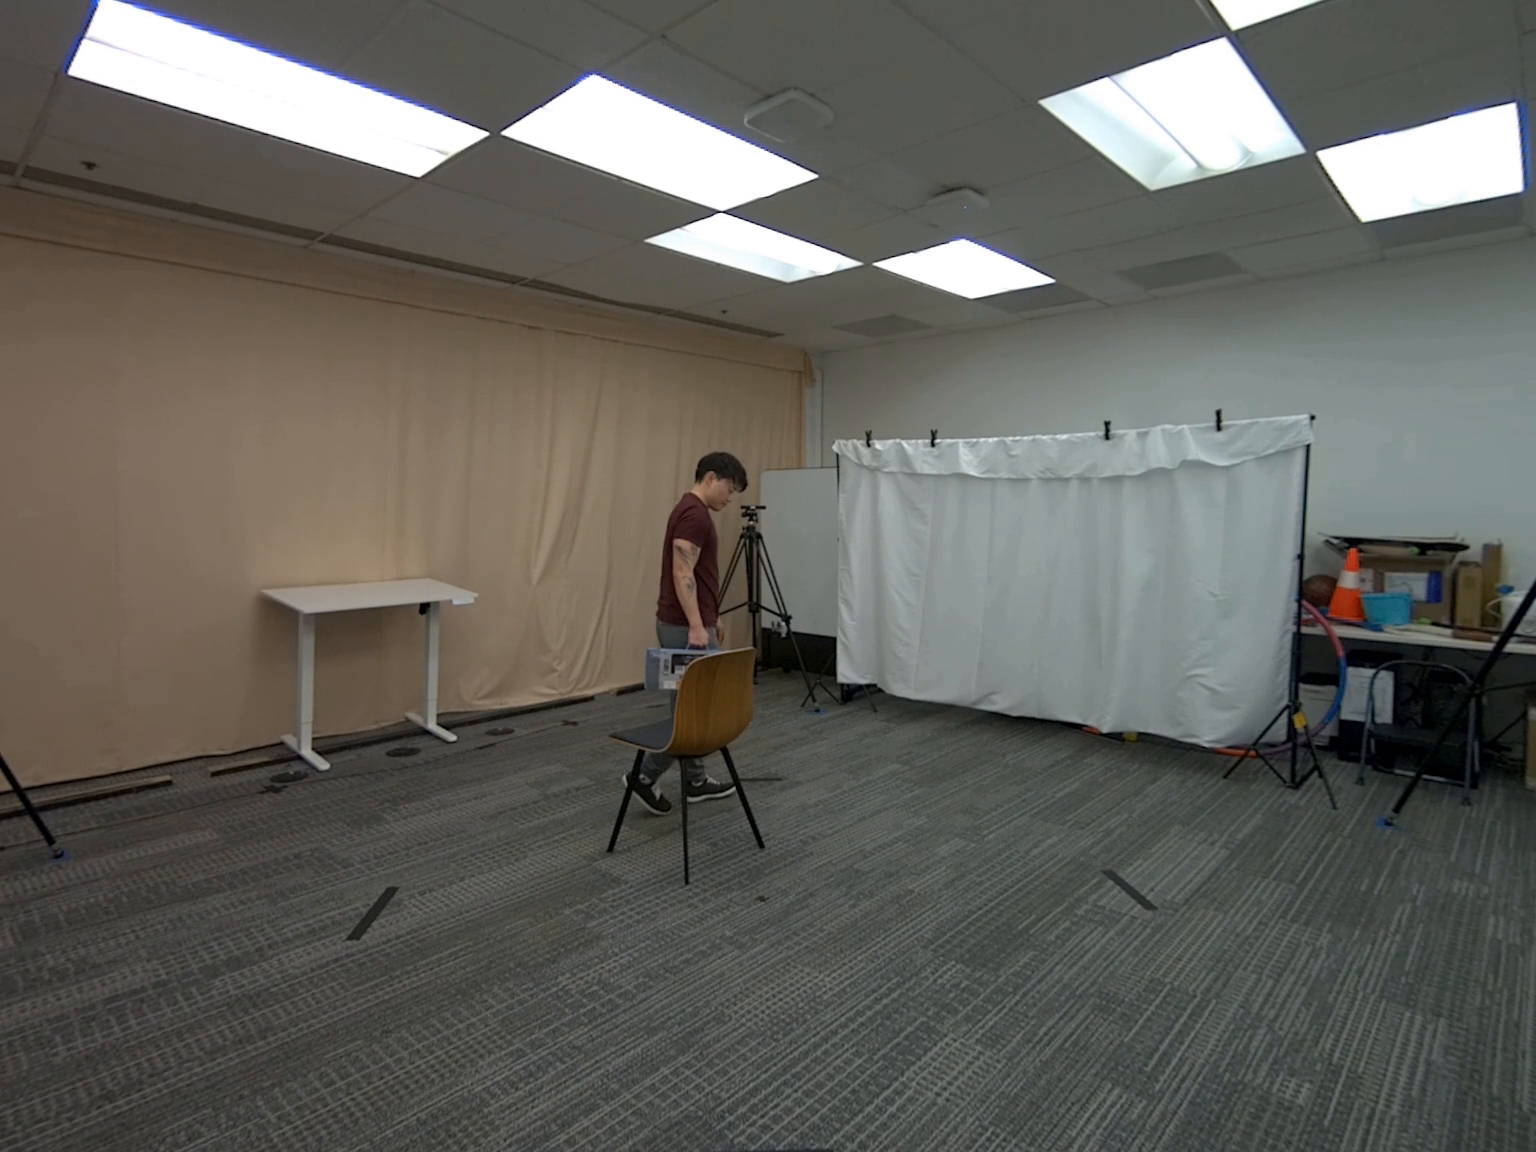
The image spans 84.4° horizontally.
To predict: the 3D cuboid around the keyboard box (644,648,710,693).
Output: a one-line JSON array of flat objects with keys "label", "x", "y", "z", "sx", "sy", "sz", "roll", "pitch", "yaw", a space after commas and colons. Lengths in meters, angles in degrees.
[{"label": "keyboard box", "x": -0.311, "y": 0.405, "z": 3.638, "sx": 0.431, "sy": 0.176, "sz": 0.060, "roll": 2, "pitch": 0, "yaw": -12}]
